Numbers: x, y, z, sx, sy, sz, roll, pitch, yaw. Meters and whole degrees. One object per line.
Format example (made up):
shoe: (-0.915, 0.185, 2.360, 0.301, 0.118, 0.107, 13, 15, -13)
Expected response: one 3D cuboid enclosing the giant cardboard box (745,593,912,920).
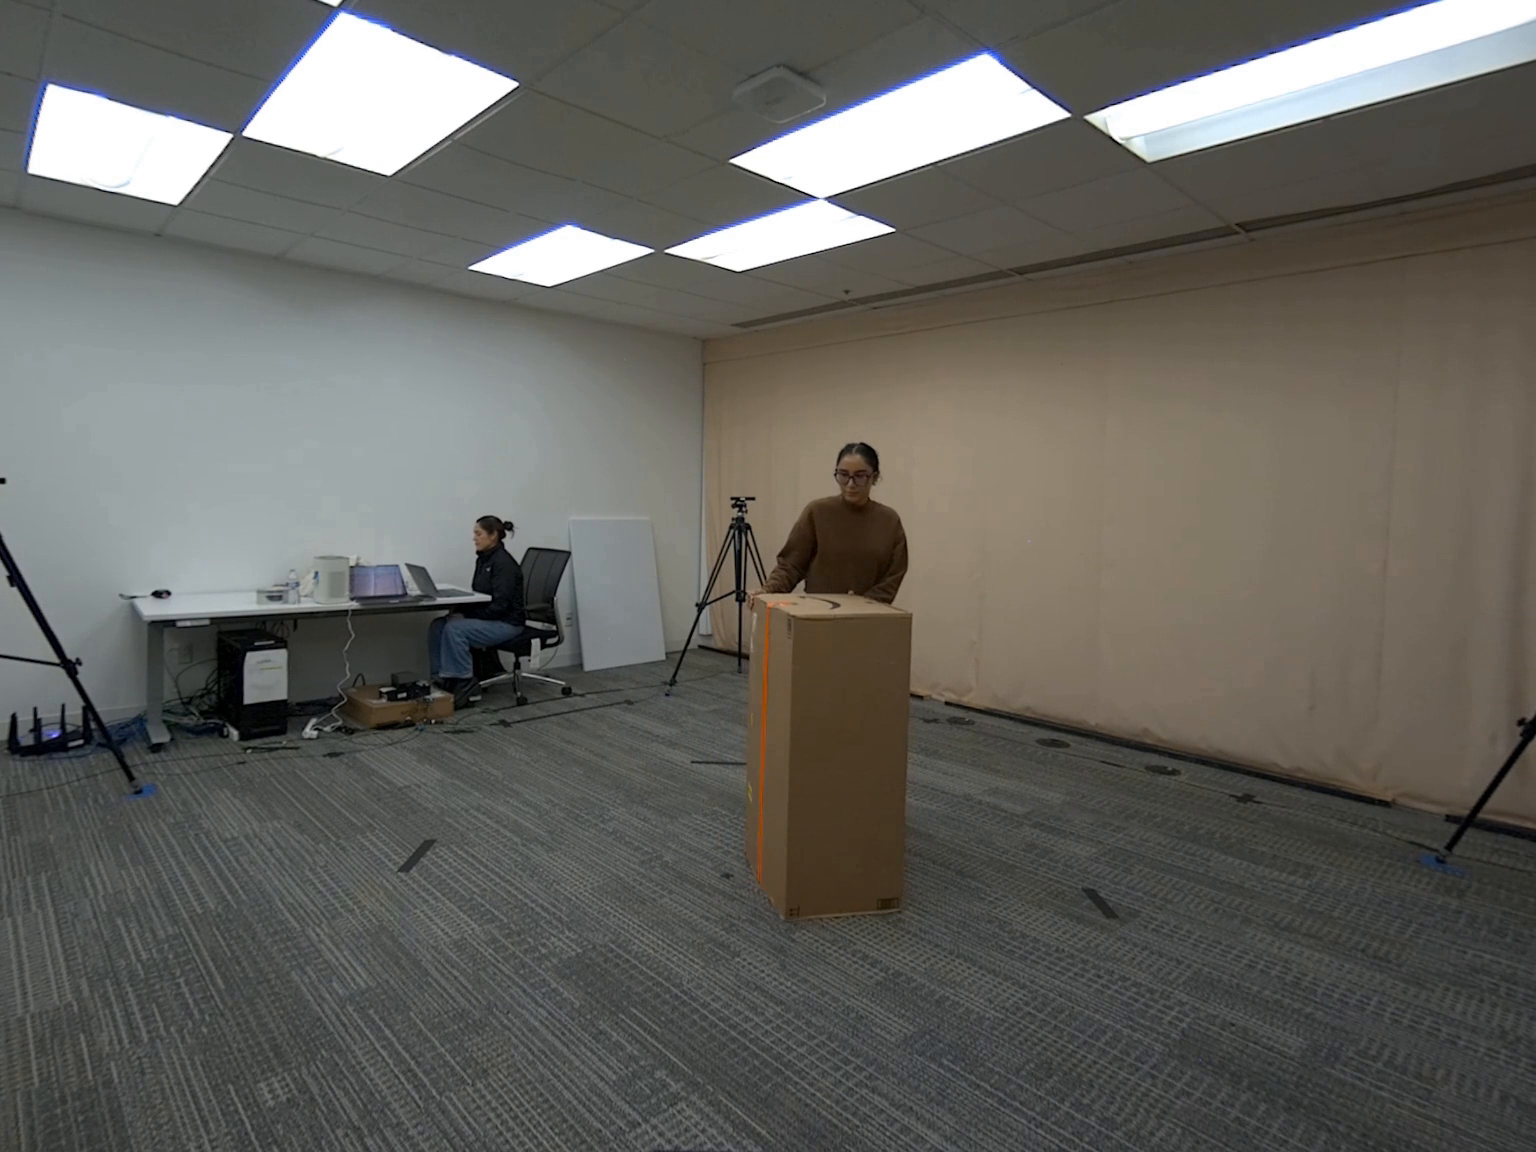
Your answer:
giant cardboard box: (0.180, 0.612, 3.060, 0.422, 1.023, 0.585, 1, 4, -13)
